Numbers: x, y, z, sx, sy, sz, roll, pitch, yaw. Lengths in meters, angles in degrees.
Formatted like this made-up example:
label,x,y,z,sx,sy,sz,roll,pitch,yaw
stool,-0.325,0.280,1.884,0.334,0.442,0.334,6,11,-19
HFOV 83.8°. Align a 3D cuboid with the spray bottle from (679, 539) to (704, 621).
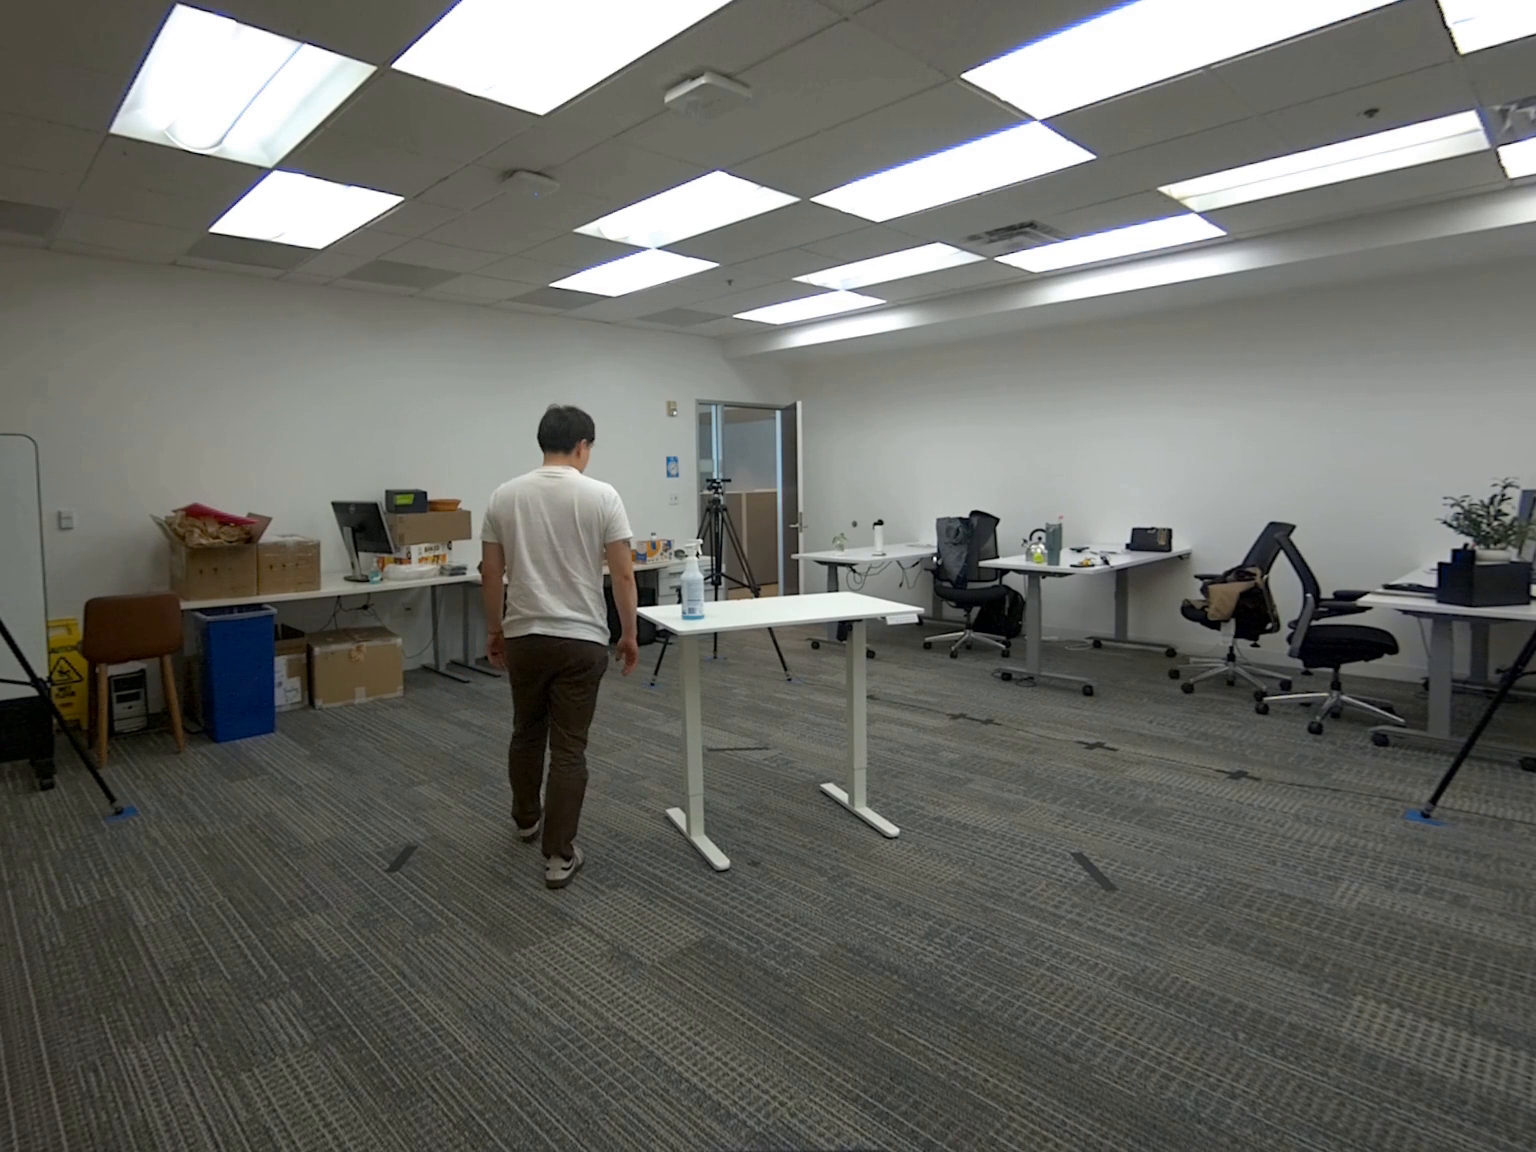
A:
label,x,y,z,sx,sy,sz,roll,pitch,yaw
spray bottle,-0.285,0.013,3.184,0.085,0.296,0.092,-1,3,-25
